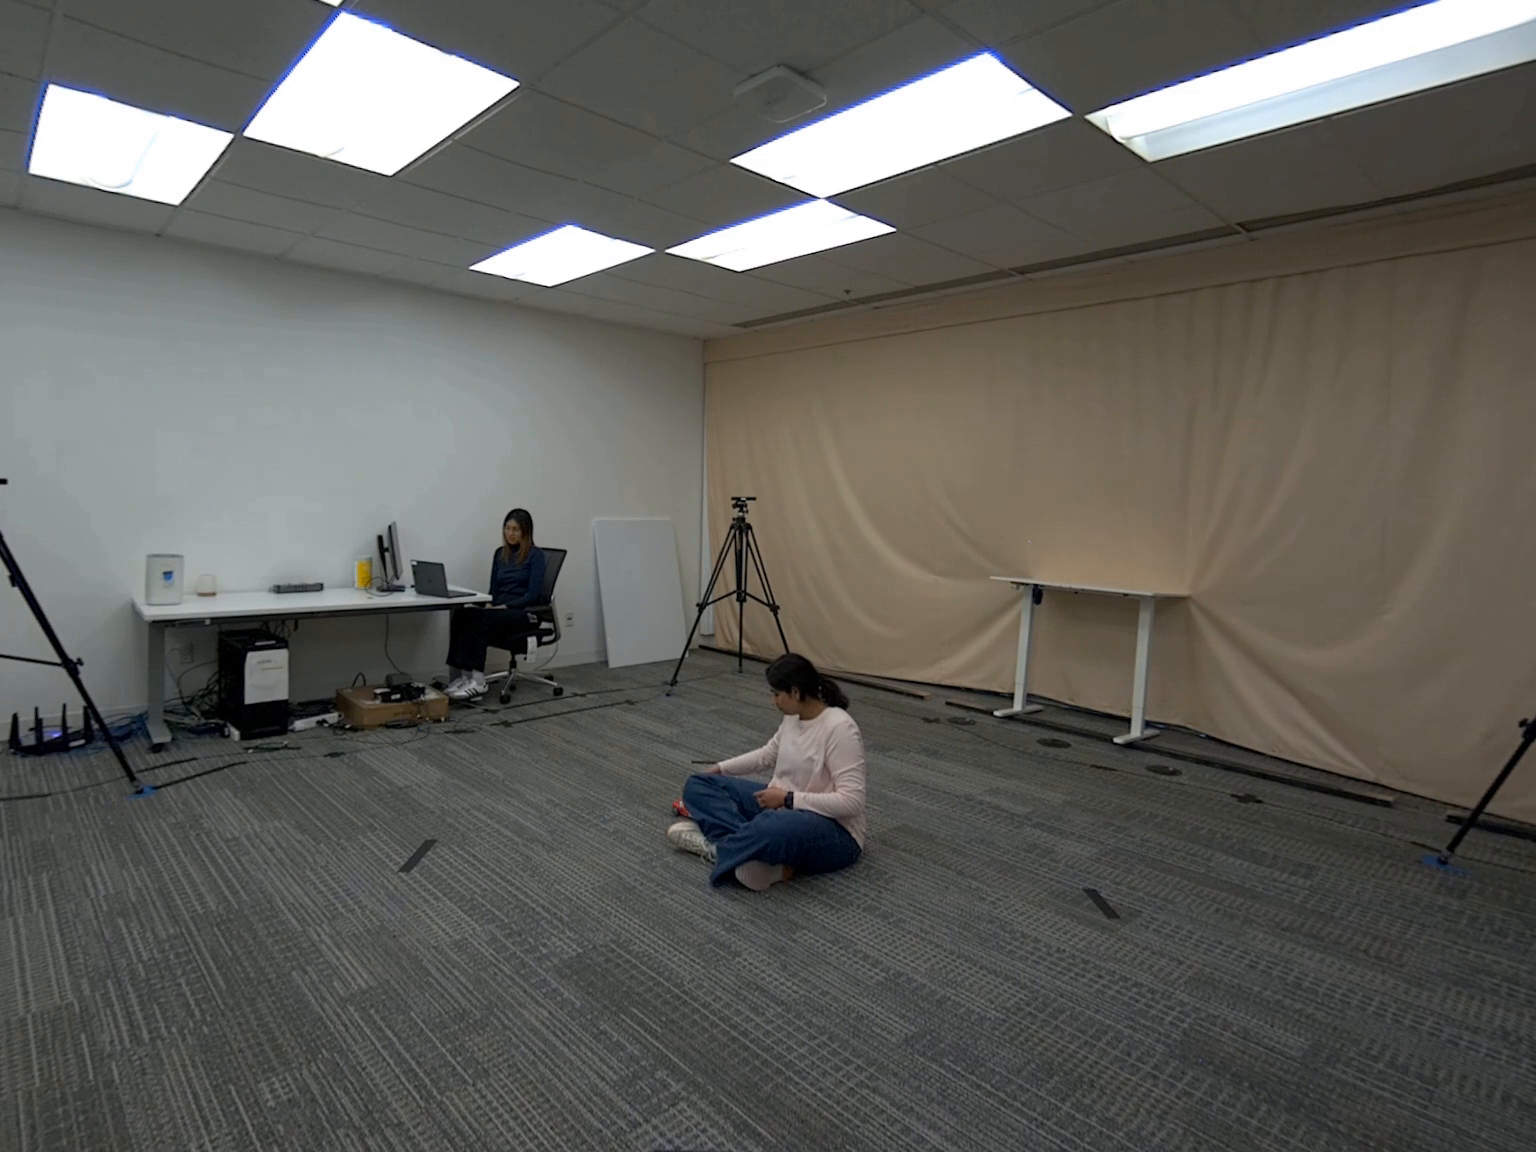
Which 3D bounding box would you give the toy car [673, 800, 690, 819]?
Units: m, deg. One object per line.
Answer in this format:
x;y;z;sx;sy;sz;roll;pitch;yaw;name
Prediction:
-0.303;1.015;3.660;0.259;0.083;0.127;-8;-4;42;toy car
